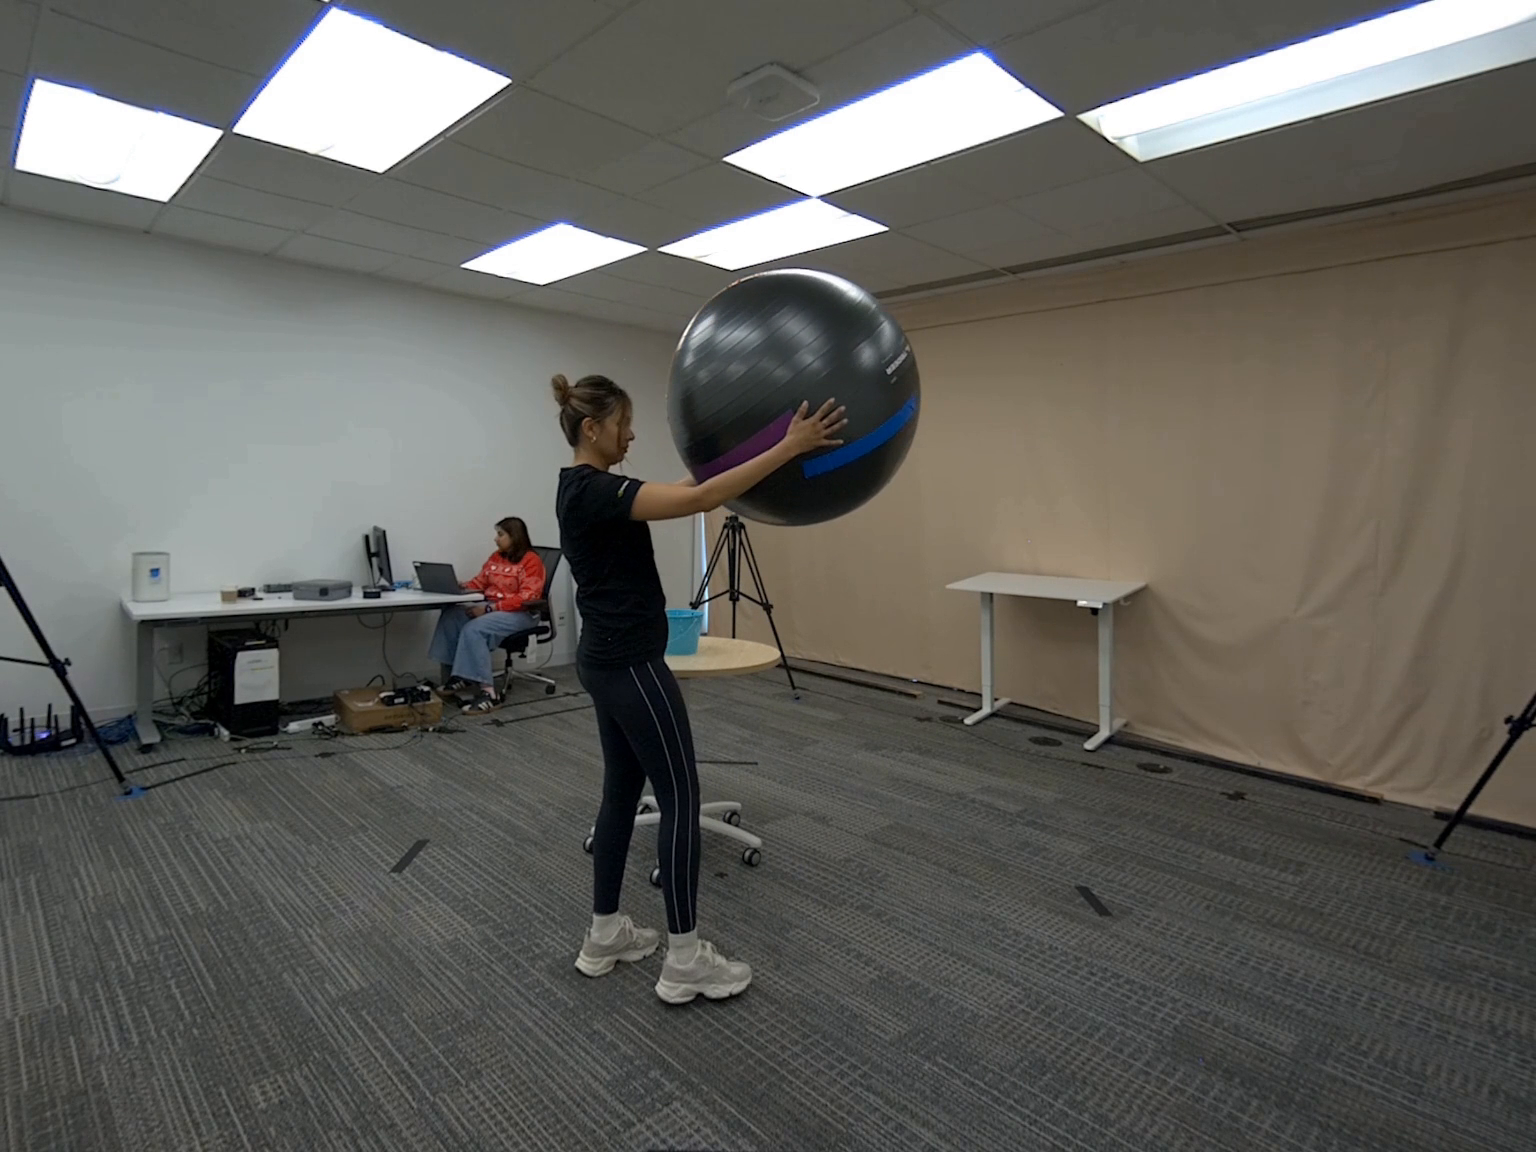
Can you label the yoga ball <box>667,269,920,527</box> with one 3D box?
[{"bbox_3d":[0.073,-0.523,2.529,0.757,0.756,0.761,1,4,-1],"label":"yoga ball"}]
